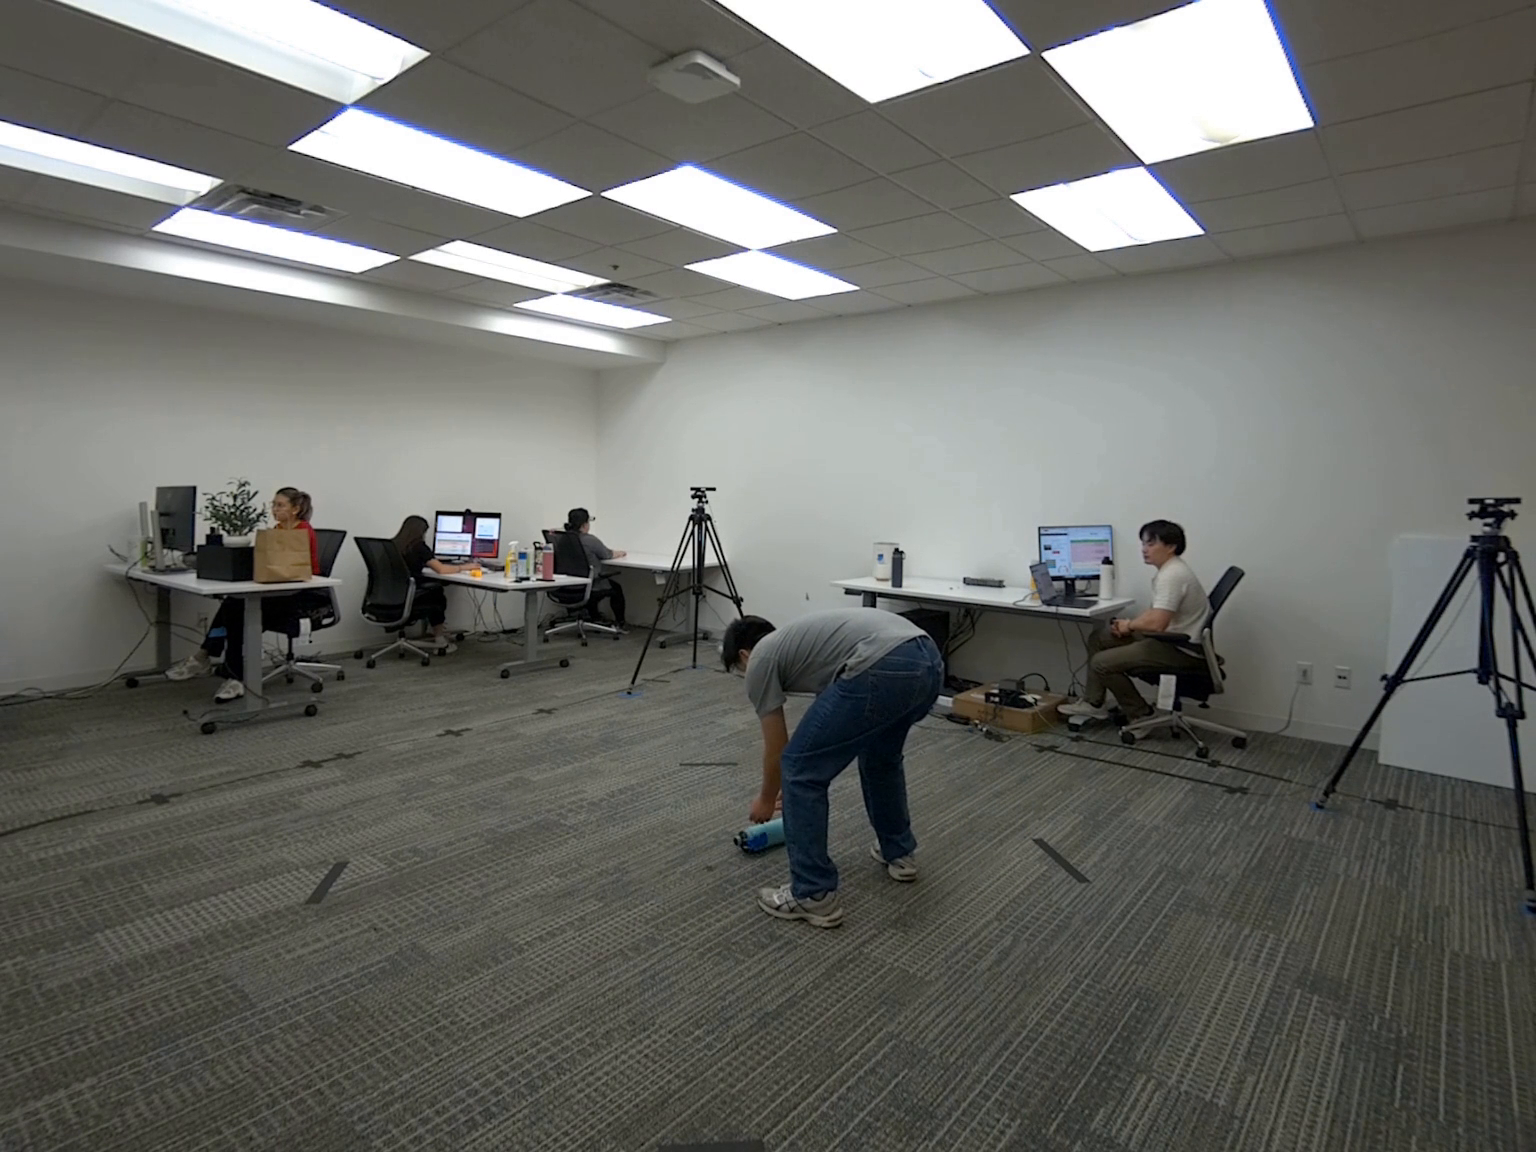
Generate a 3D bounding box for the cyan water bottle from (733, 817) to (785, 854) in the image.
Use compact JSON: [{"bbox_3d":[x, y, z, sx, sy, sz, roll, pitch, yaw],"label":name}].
[{"bbox_3d":[-0.011,1.001,3.311,0.276,0.092,0.095,-7,8,-36],"label":"cyan water bottle"}]
